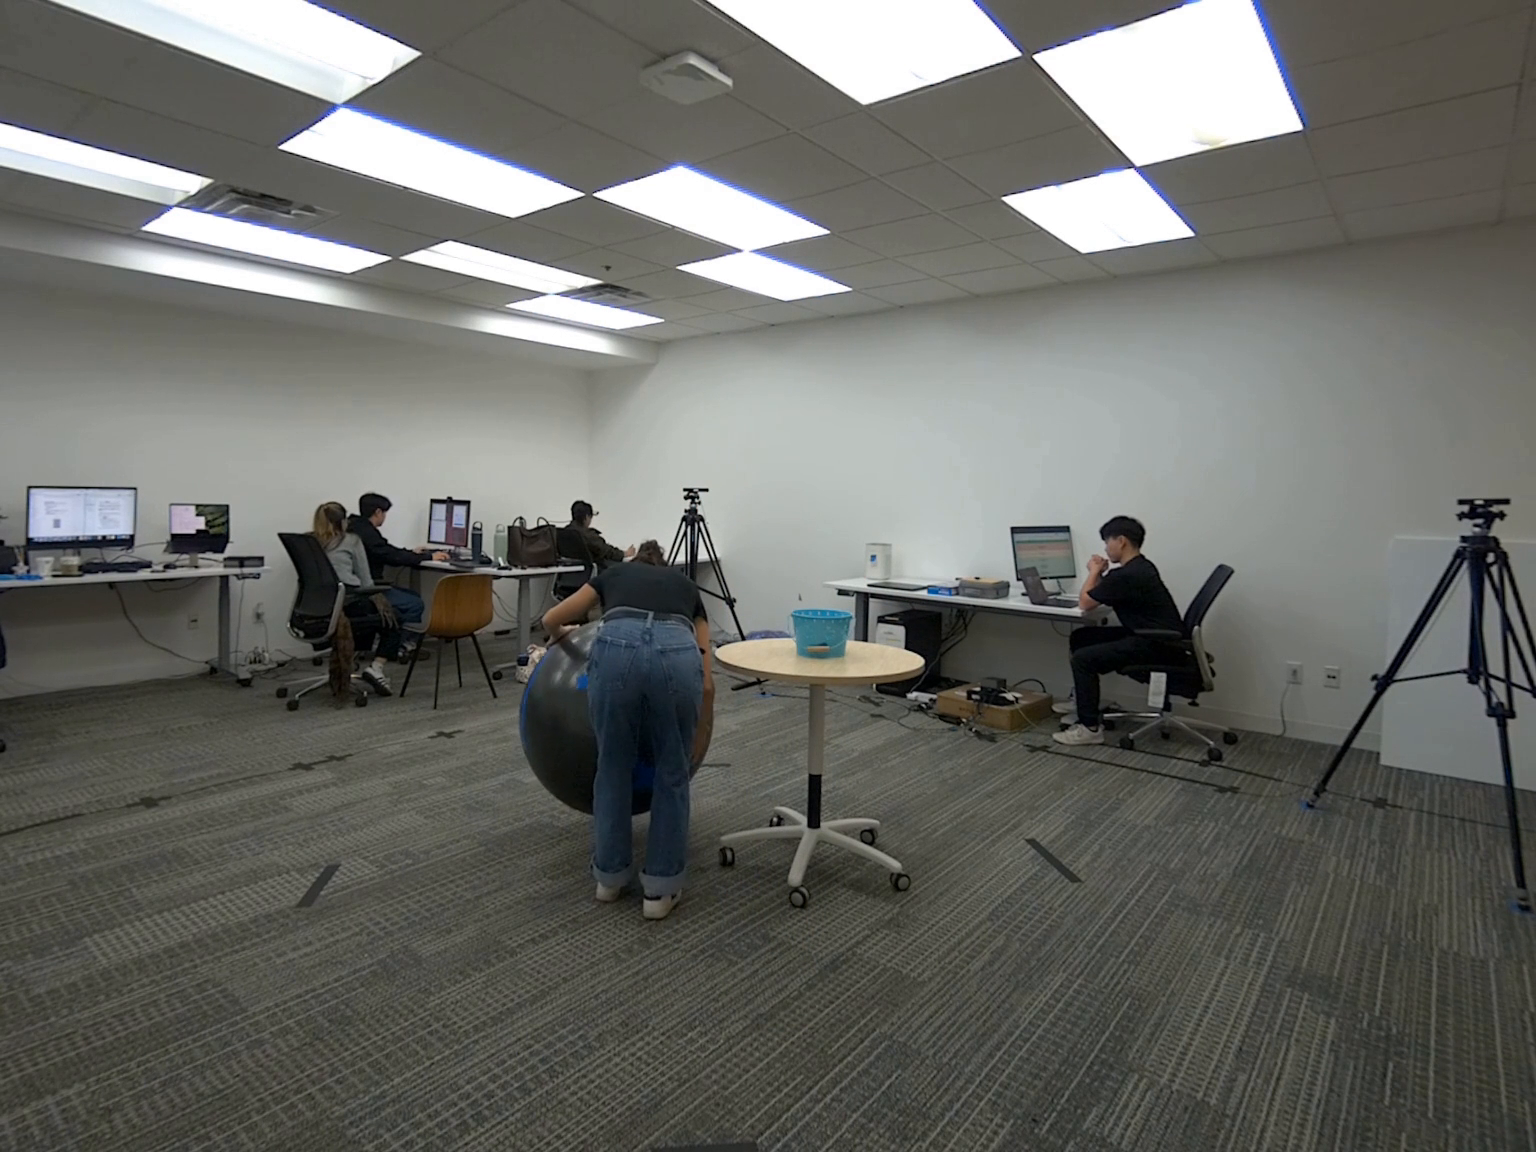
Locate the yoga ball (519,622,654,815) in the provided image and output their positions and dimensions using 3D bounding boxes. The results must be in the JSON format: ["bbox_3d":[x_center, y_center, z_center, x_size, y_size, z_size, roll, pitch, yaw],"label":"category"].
[{"bbox_3d":[-0.606,0.549,3.343,0.757,0.755,0.762,1,4,-2],"label":"yoga ball"}]
